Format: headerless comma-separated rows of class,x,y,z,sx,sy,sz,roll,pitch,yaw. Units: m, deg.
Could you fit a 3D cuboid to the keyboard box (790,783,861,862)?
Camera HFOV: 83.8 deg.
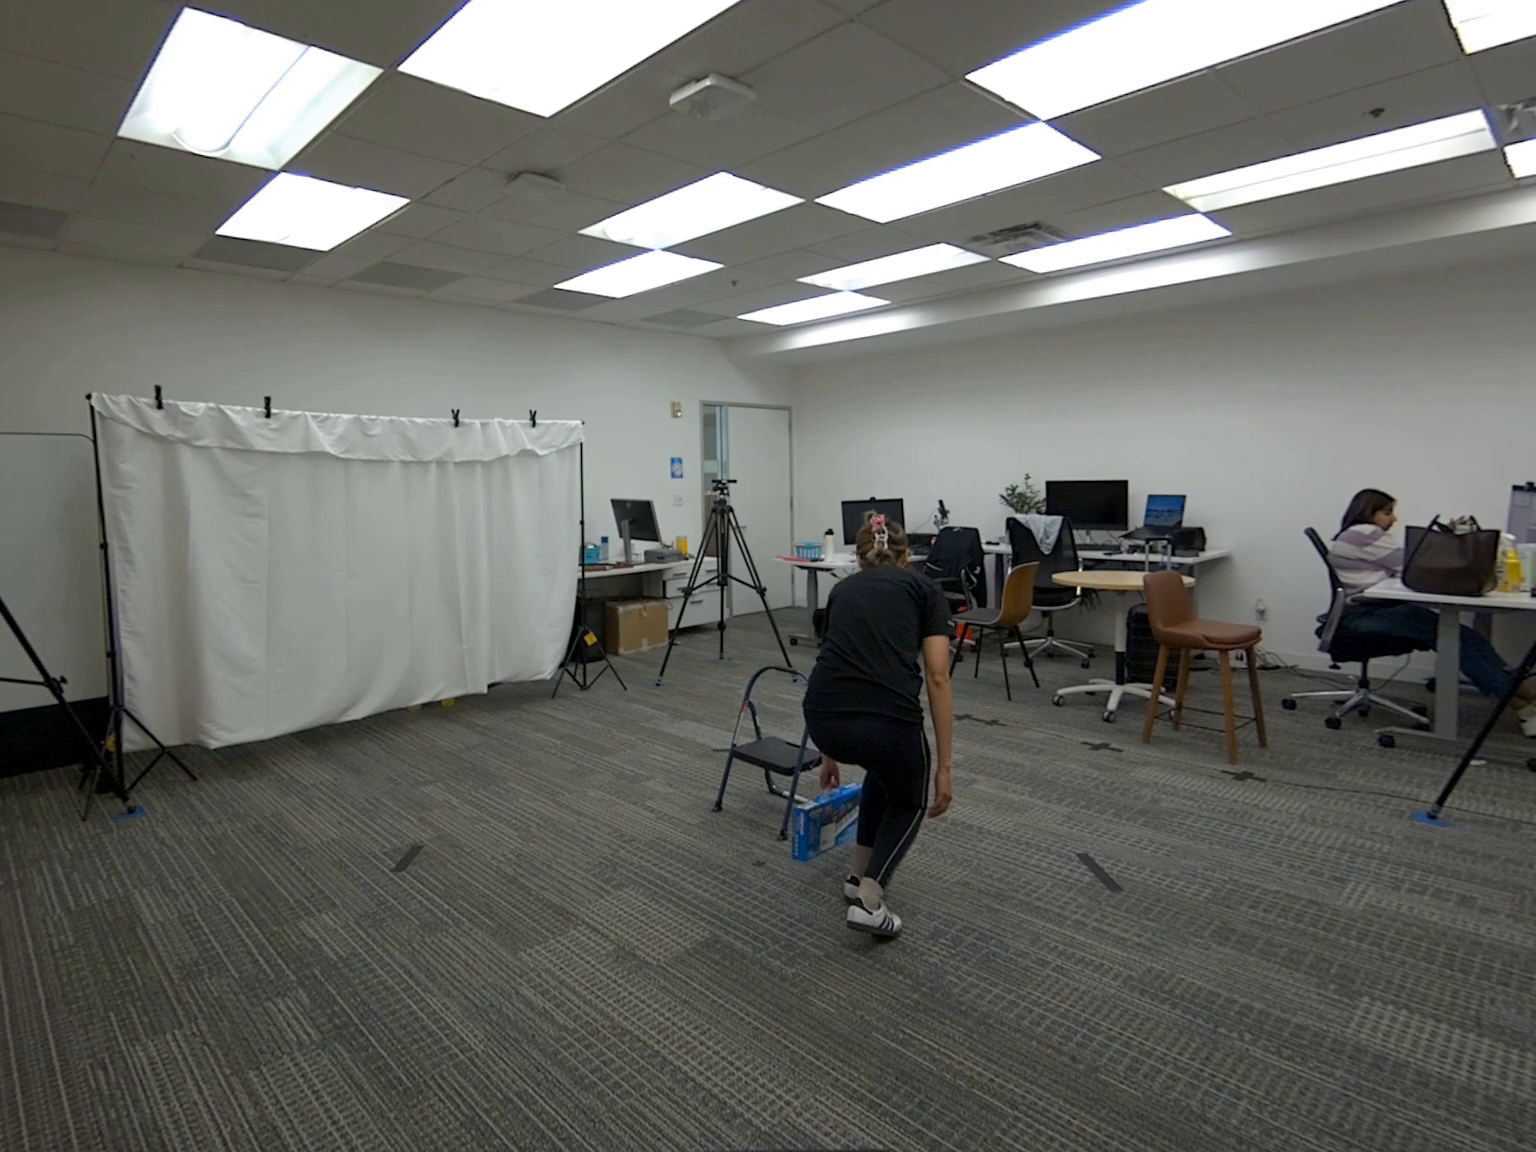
keyboard box,0.230,0.868,3.043,0.061,0.176,0.425,0,1,34
